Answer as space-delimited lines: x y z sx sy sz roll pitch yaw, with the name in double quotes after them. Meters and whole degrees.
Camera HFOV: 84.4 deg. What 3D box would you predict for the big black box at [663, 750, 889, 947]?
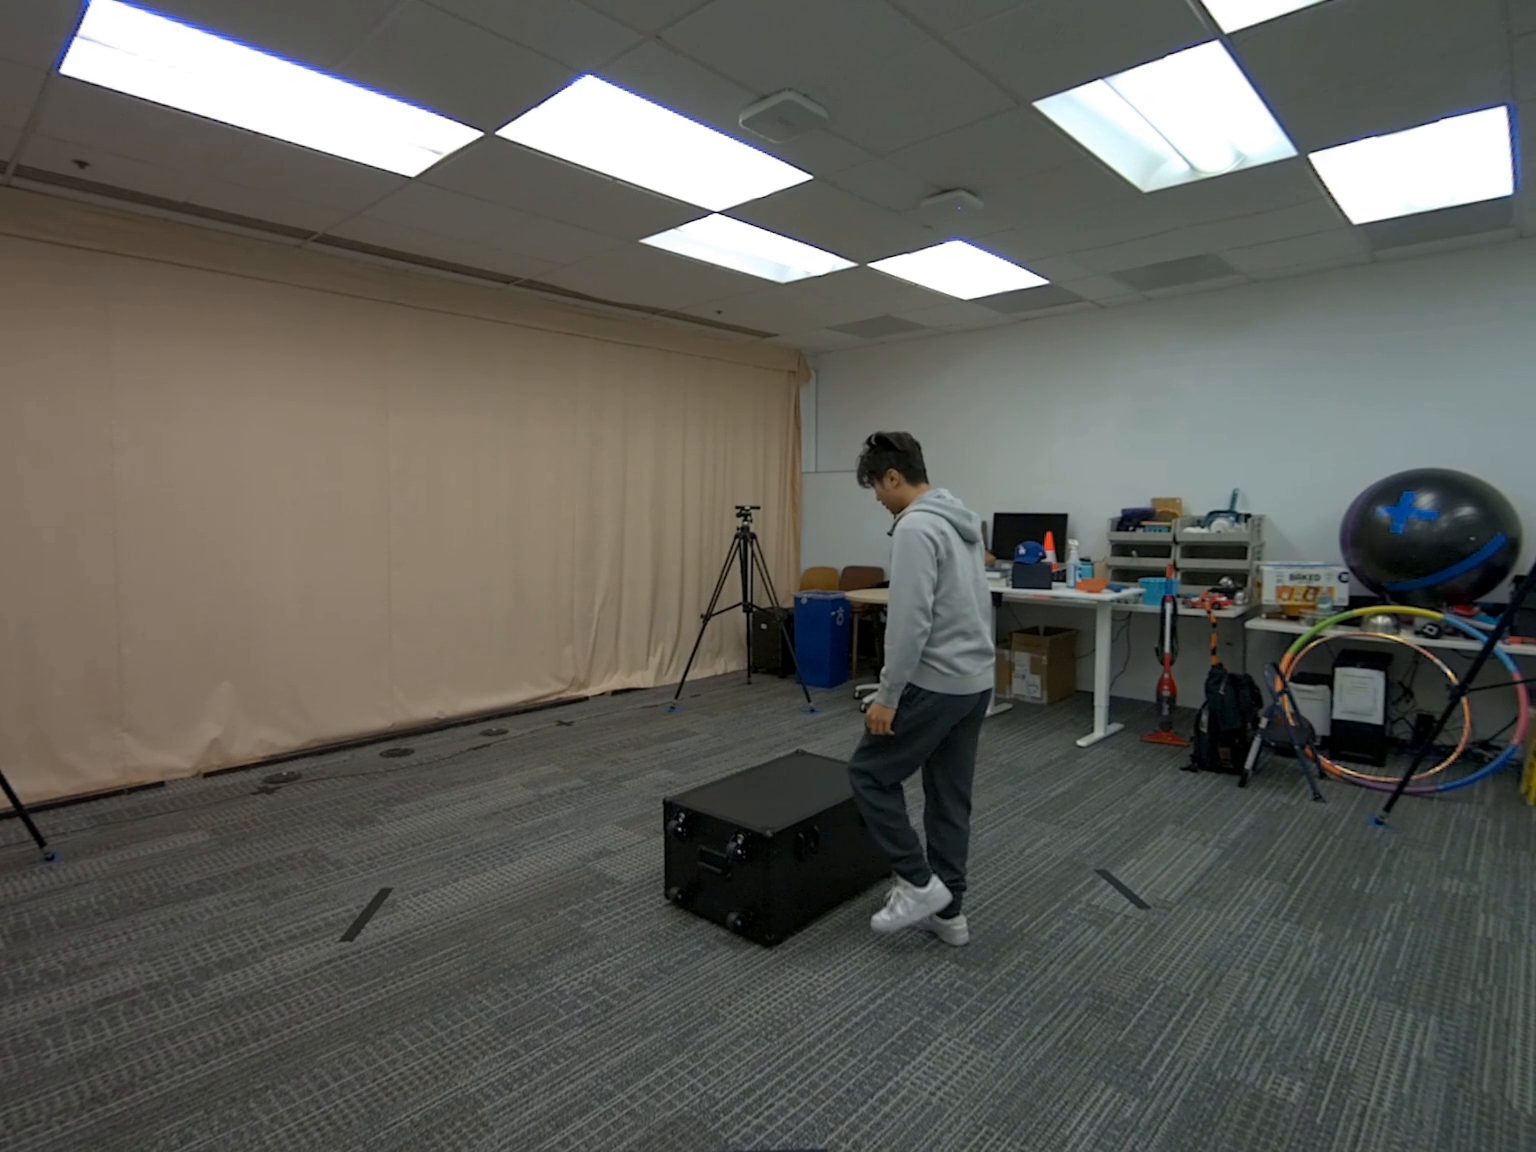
0.046 0.950 3.037 0.538 0.395 0.835 4 5 41 "big black box"
